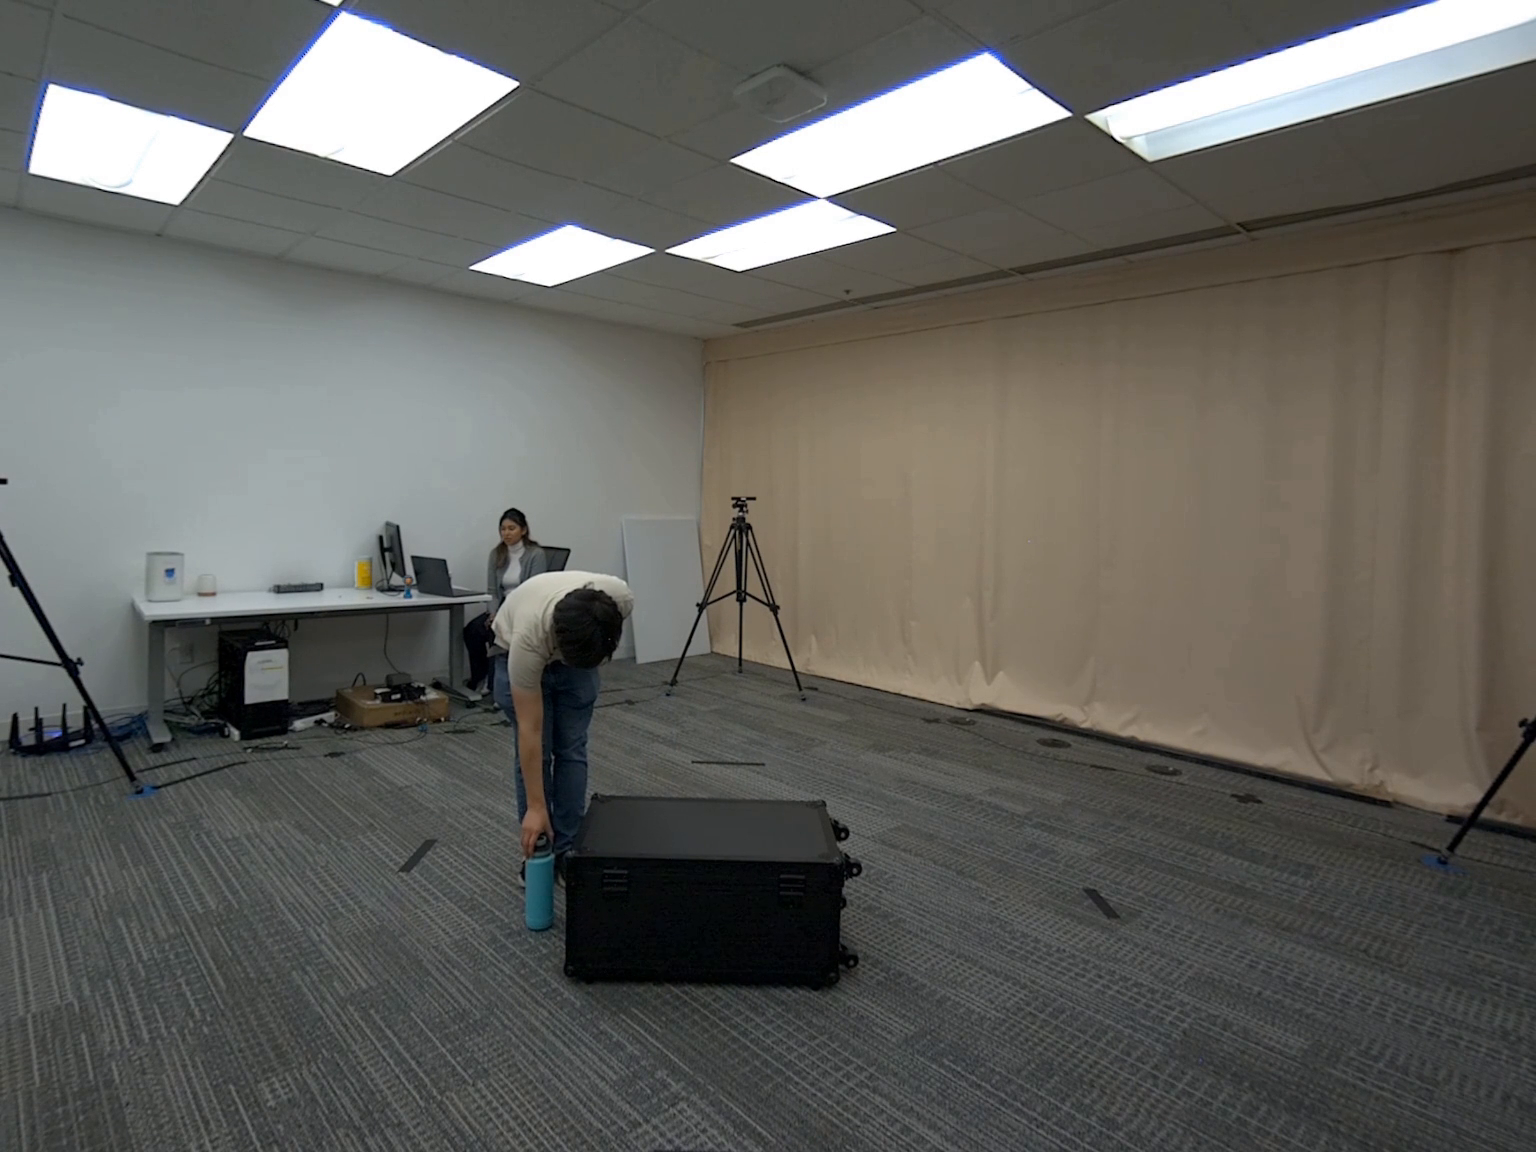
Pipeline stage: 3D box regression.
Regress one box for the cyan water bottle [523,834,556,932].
[{"bbox_3d":[-0.736,0.978,2.717,0.092,0.282,0.093,1,7,-2],"label":"cyan water bottle"}]
